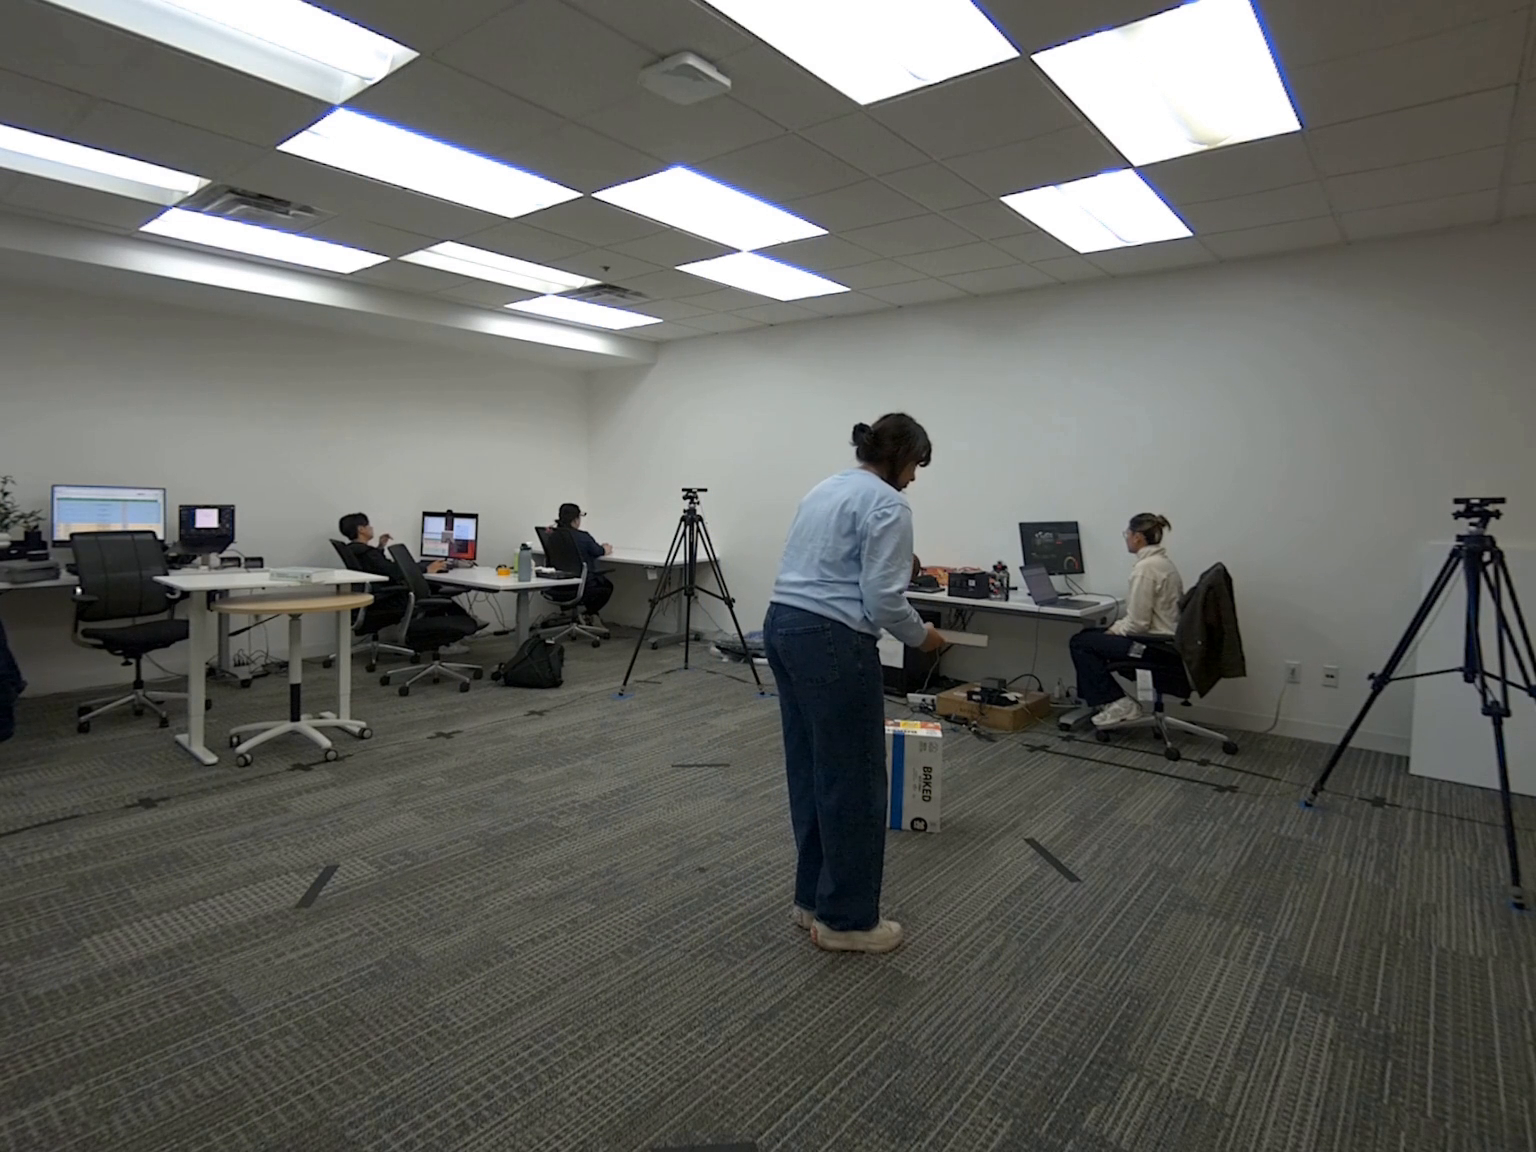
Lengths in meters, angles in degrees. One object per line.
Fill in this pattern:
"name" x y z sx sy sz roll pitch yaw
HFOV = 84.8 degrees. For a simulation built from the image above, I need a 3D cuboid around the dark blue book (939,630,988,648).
"dark blue book" 0.571 0.202 2.772 0.241 0.045 0.165 7 -4 -15
